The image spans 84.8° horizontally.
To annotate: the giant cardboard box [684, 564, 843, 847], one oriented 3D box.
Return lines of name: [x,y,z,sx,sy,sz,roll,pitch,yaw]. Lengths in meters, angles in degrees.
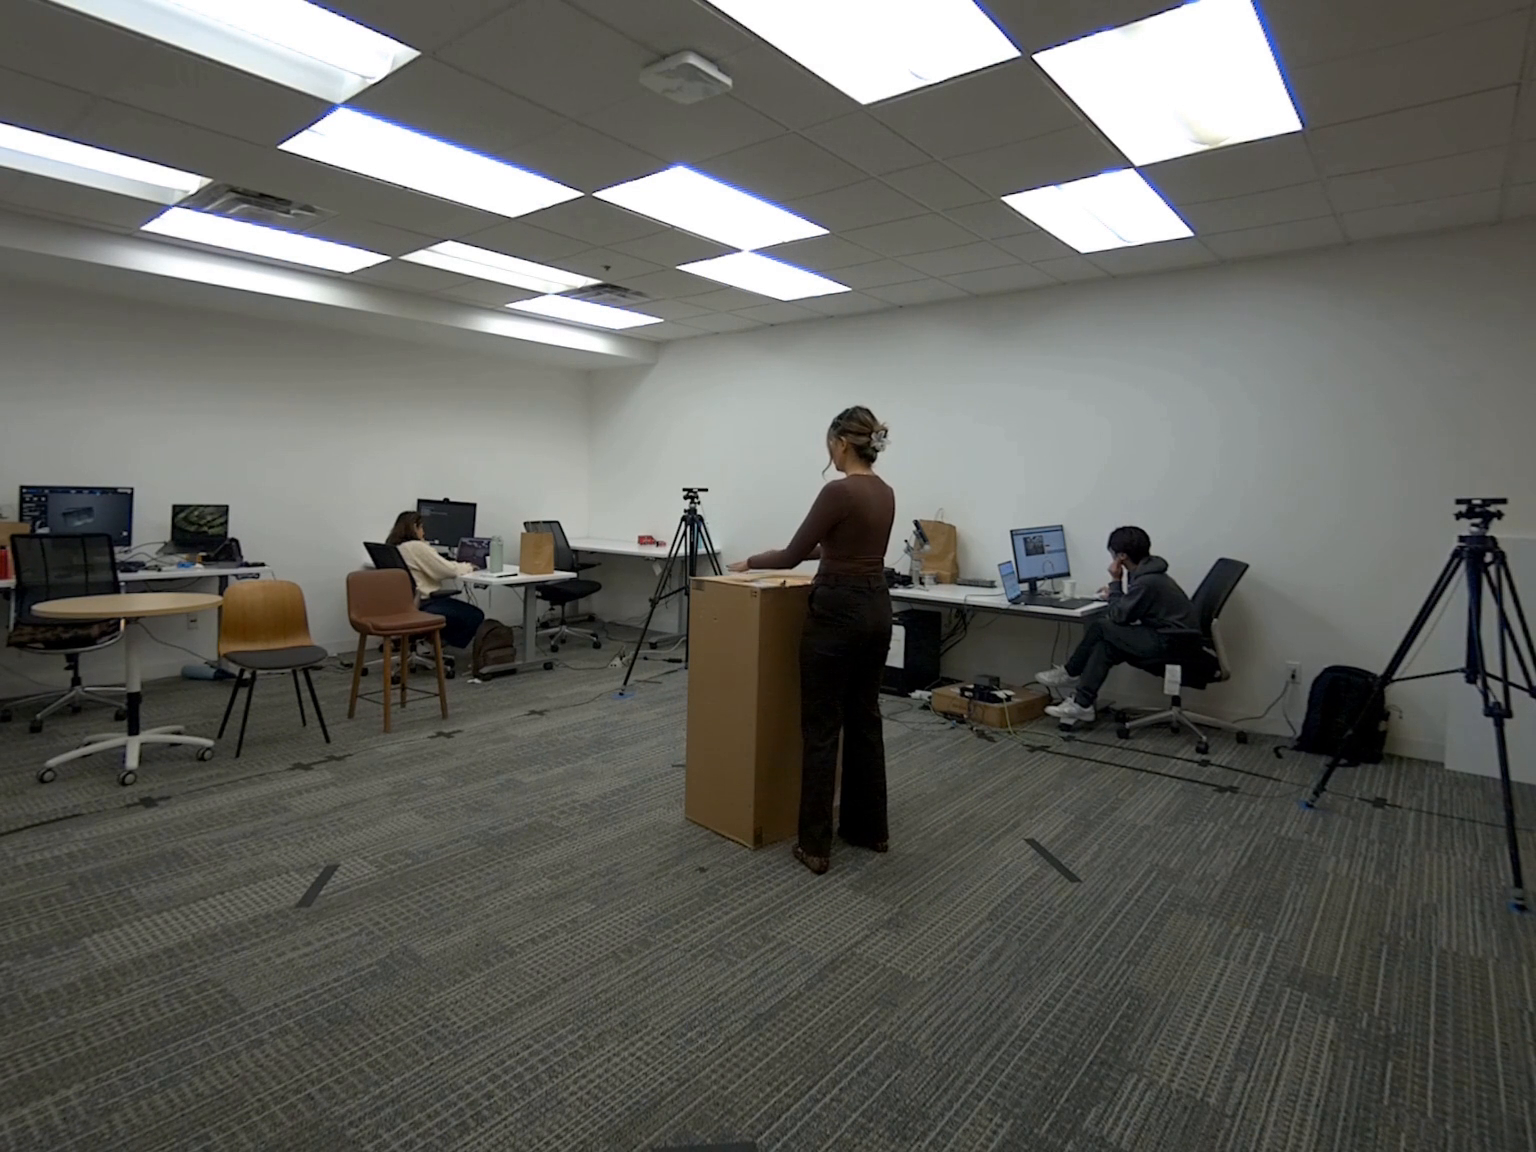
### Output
giant cardboard box: [-0.003,0.513,3.606,0.566,1.023,0.462,-2,5,-43]
